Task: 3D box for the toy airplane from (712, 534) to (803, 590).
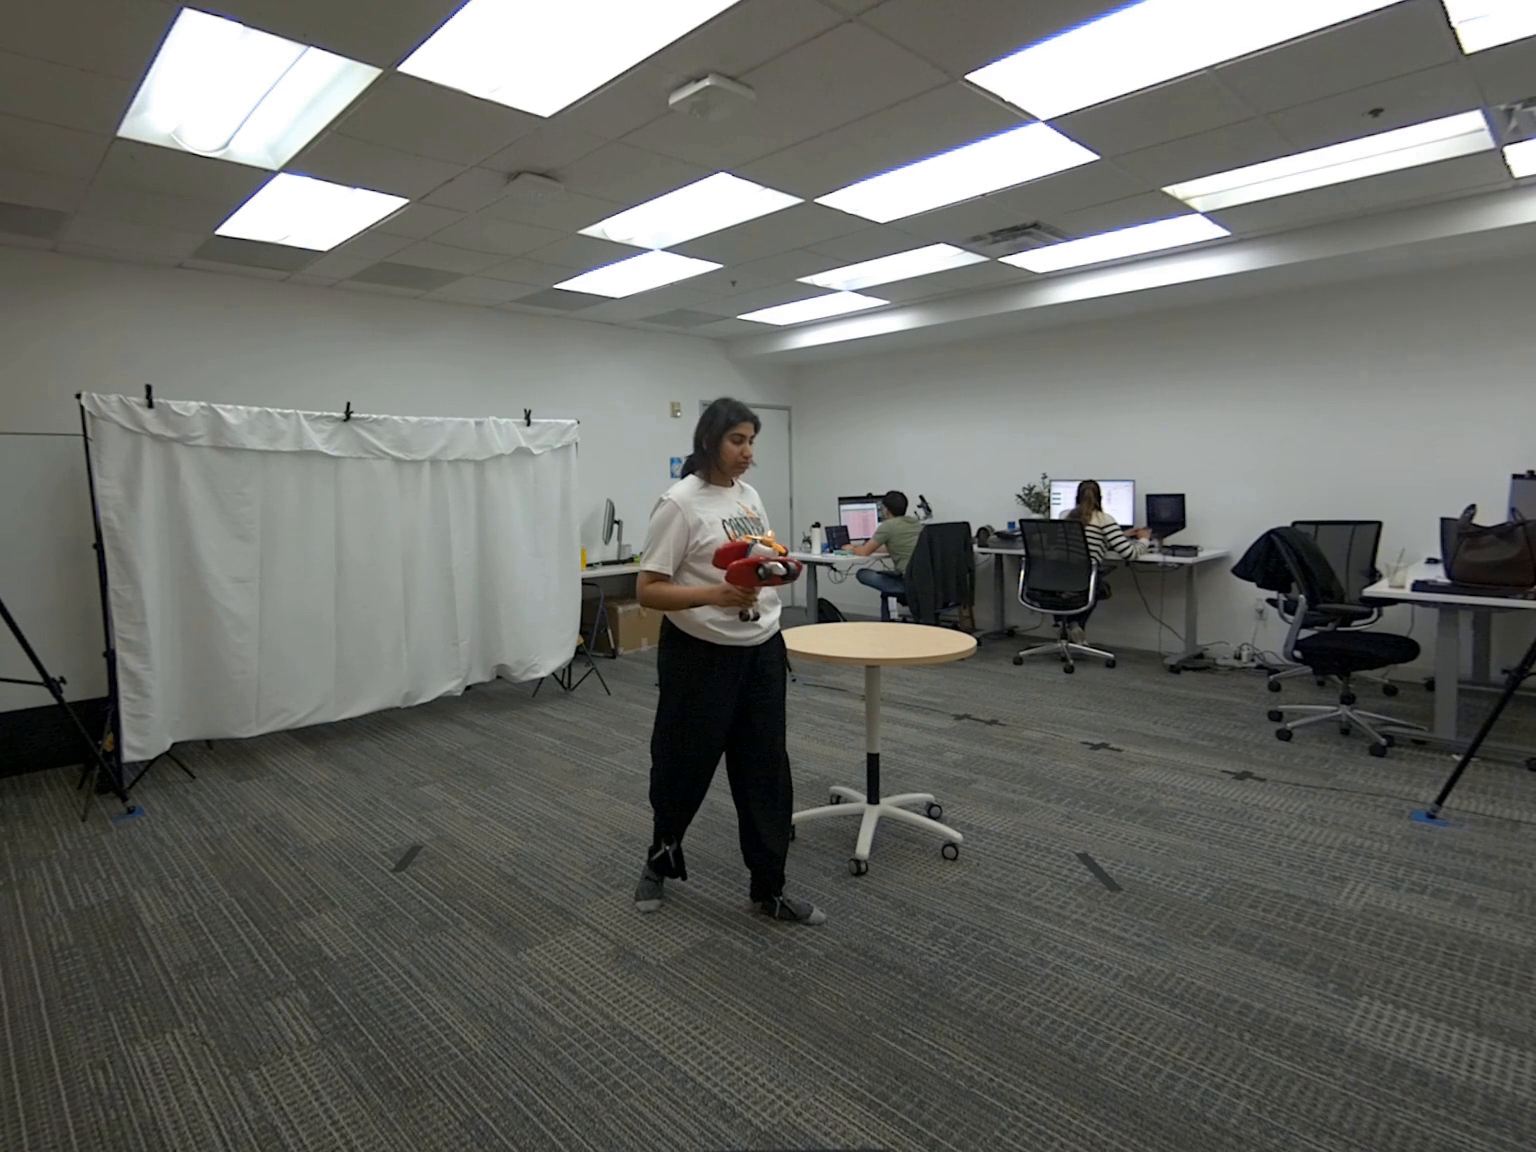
[{"bbox_3d":[-0.053,0.006,2.408,0.260,0.162,0.242,-39,-32,14],"label":"toy airplane"}]
